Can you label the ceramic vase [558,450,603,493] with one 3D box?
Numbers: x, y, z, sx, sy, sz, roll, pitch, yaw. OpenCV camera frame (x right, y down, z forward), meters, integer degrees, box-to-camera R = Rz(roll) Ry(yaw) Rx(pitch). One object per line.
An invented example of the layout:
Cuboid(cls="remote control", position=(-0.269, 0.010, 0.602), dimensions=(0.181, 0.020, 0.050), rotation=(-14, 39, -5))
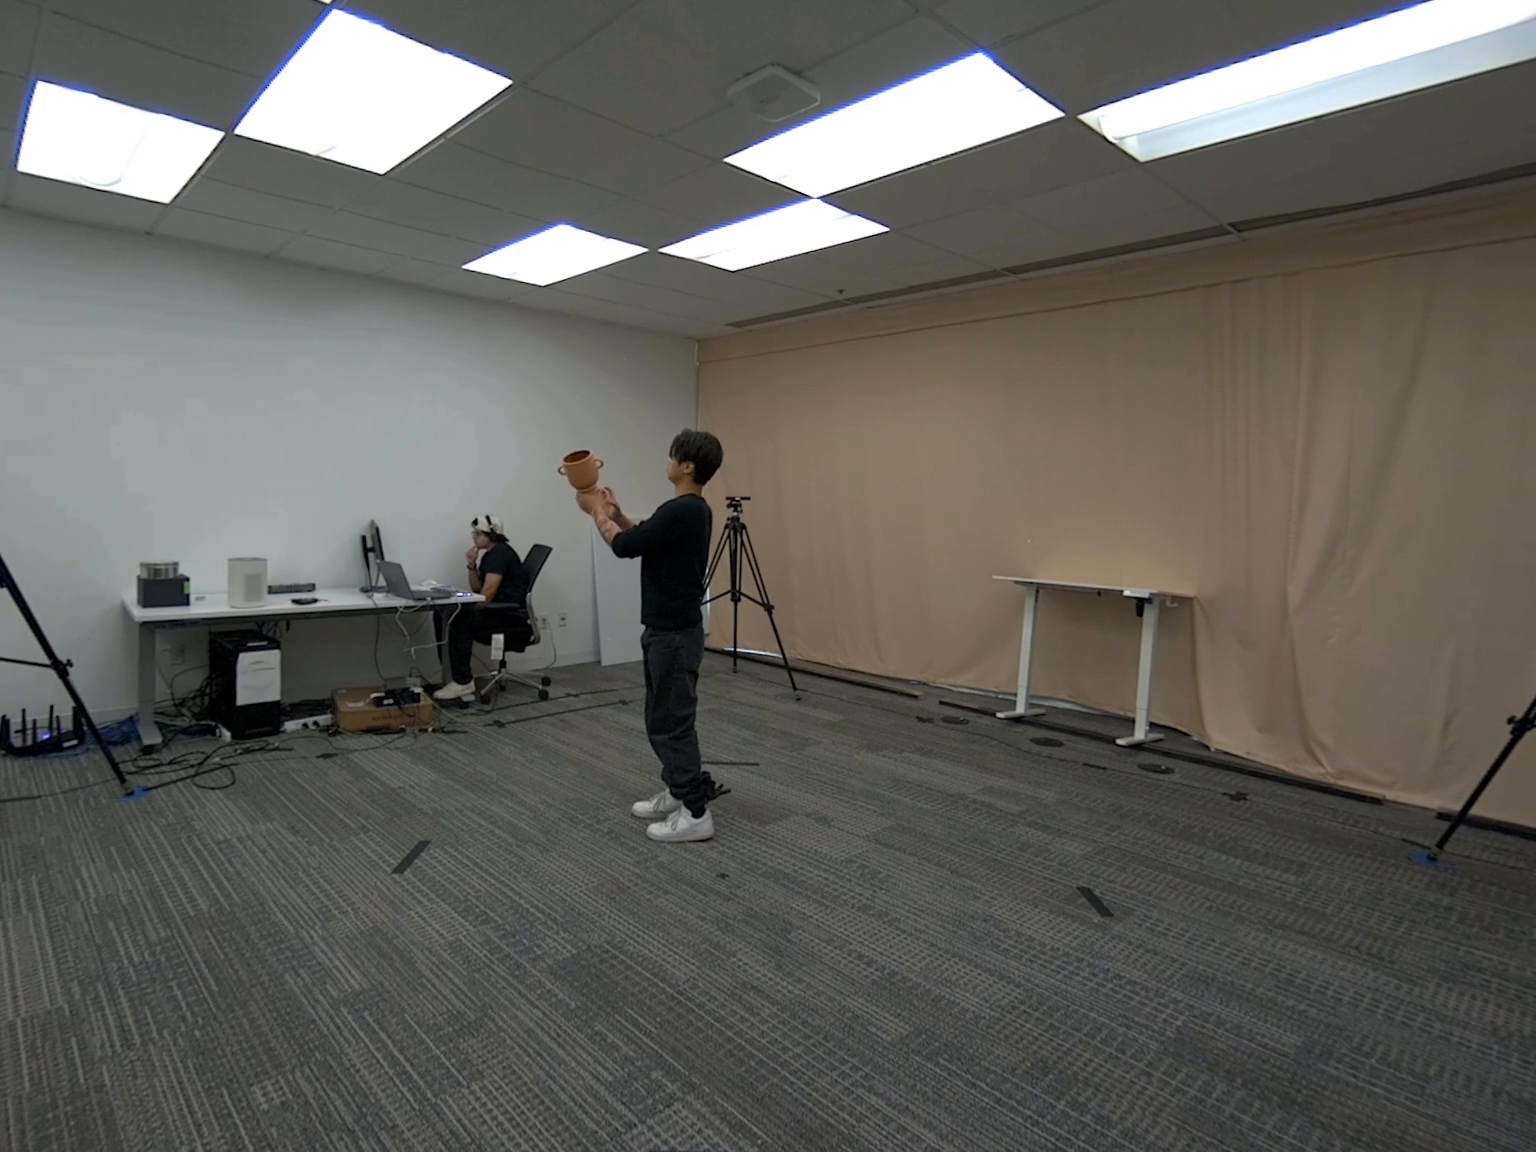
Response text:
Cuboid(cls="ceramic vase", position=(-0.781, -0.409, 3.560), dimensions=(0.163, 0.215, 0.134), rotation=(14, 40, 36))
